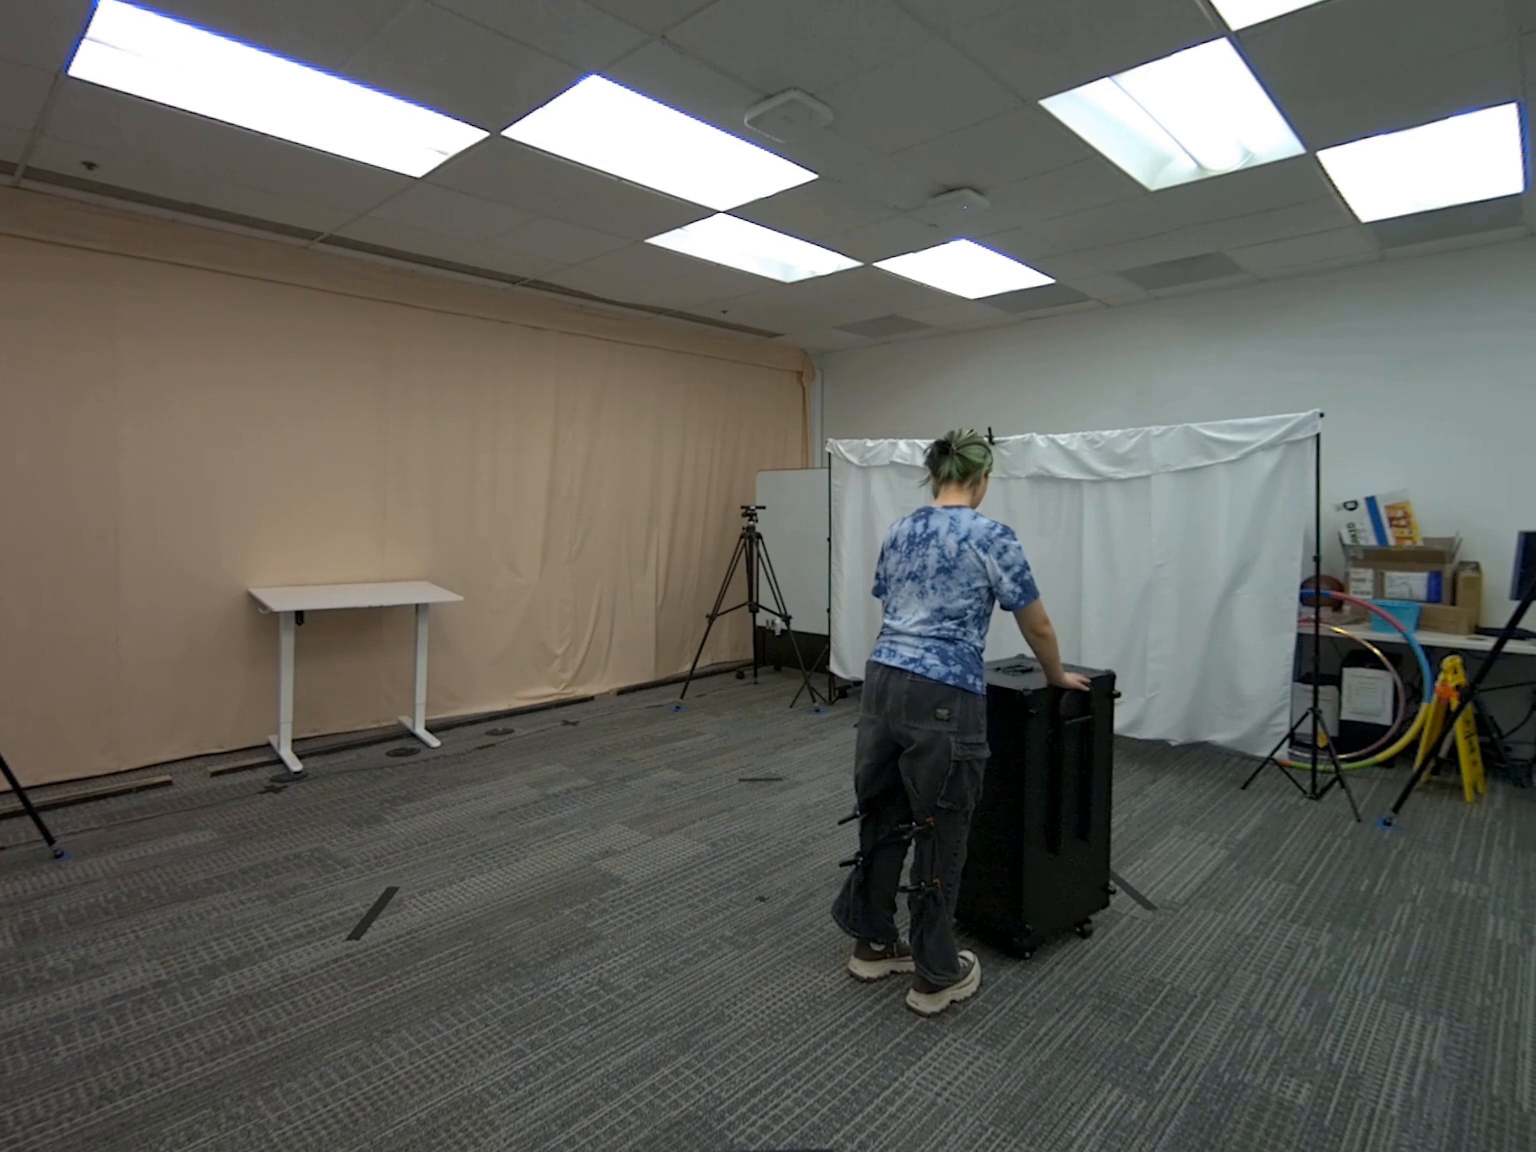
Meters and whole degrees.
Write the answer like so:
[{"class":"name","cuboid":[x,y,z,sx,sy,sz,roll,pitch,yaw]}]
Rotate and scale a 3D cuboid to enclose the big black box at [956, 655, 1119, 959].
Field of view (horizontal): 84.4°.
[{"class":"big black box","cuboid":[0.851,0.739,2.751,0.506,0.859,0.409,-3,6,-36]}]
